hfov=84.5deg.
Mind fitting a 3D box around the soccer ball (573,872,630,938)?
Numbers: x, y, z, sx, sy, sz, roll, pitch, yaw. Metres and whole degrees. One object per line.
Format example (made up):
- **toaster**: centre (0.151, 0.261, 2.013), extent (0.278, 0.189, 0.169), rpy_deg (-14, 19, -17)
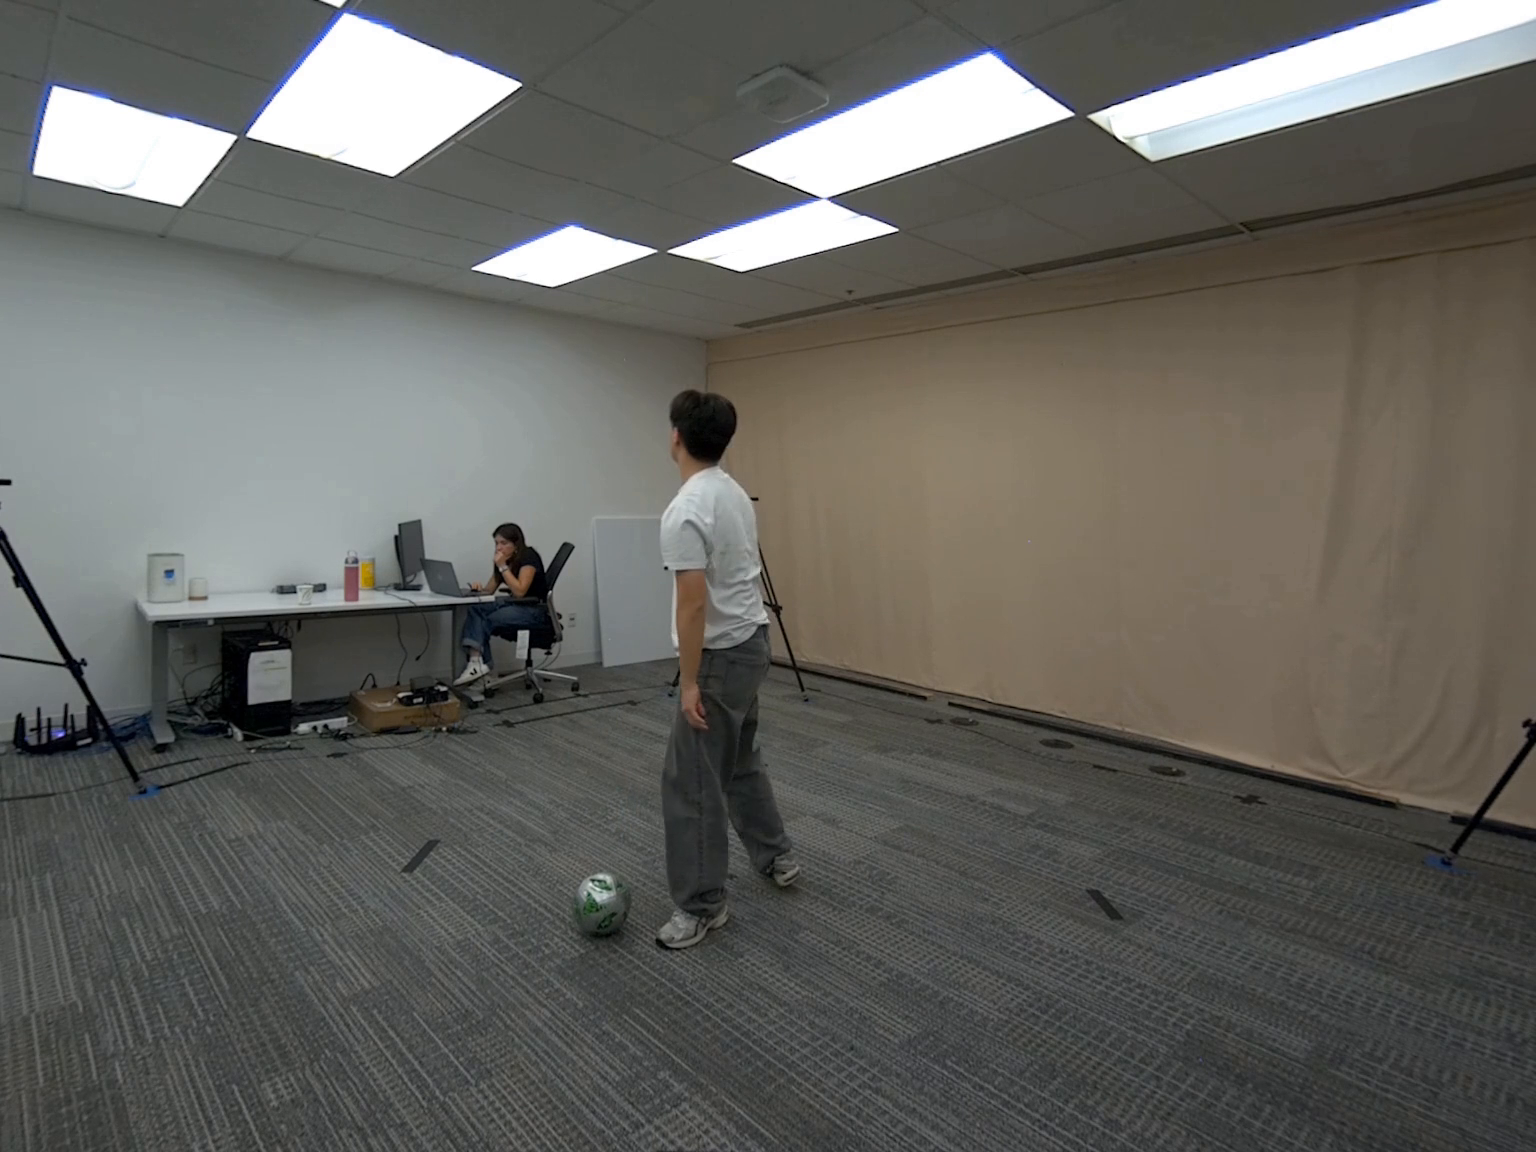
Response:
- **soccer ball**: centre (-0.529, 1.040, 2.688), extent (0.187, 0.187, 0.188), rpy_deg (1, 4, -1)
